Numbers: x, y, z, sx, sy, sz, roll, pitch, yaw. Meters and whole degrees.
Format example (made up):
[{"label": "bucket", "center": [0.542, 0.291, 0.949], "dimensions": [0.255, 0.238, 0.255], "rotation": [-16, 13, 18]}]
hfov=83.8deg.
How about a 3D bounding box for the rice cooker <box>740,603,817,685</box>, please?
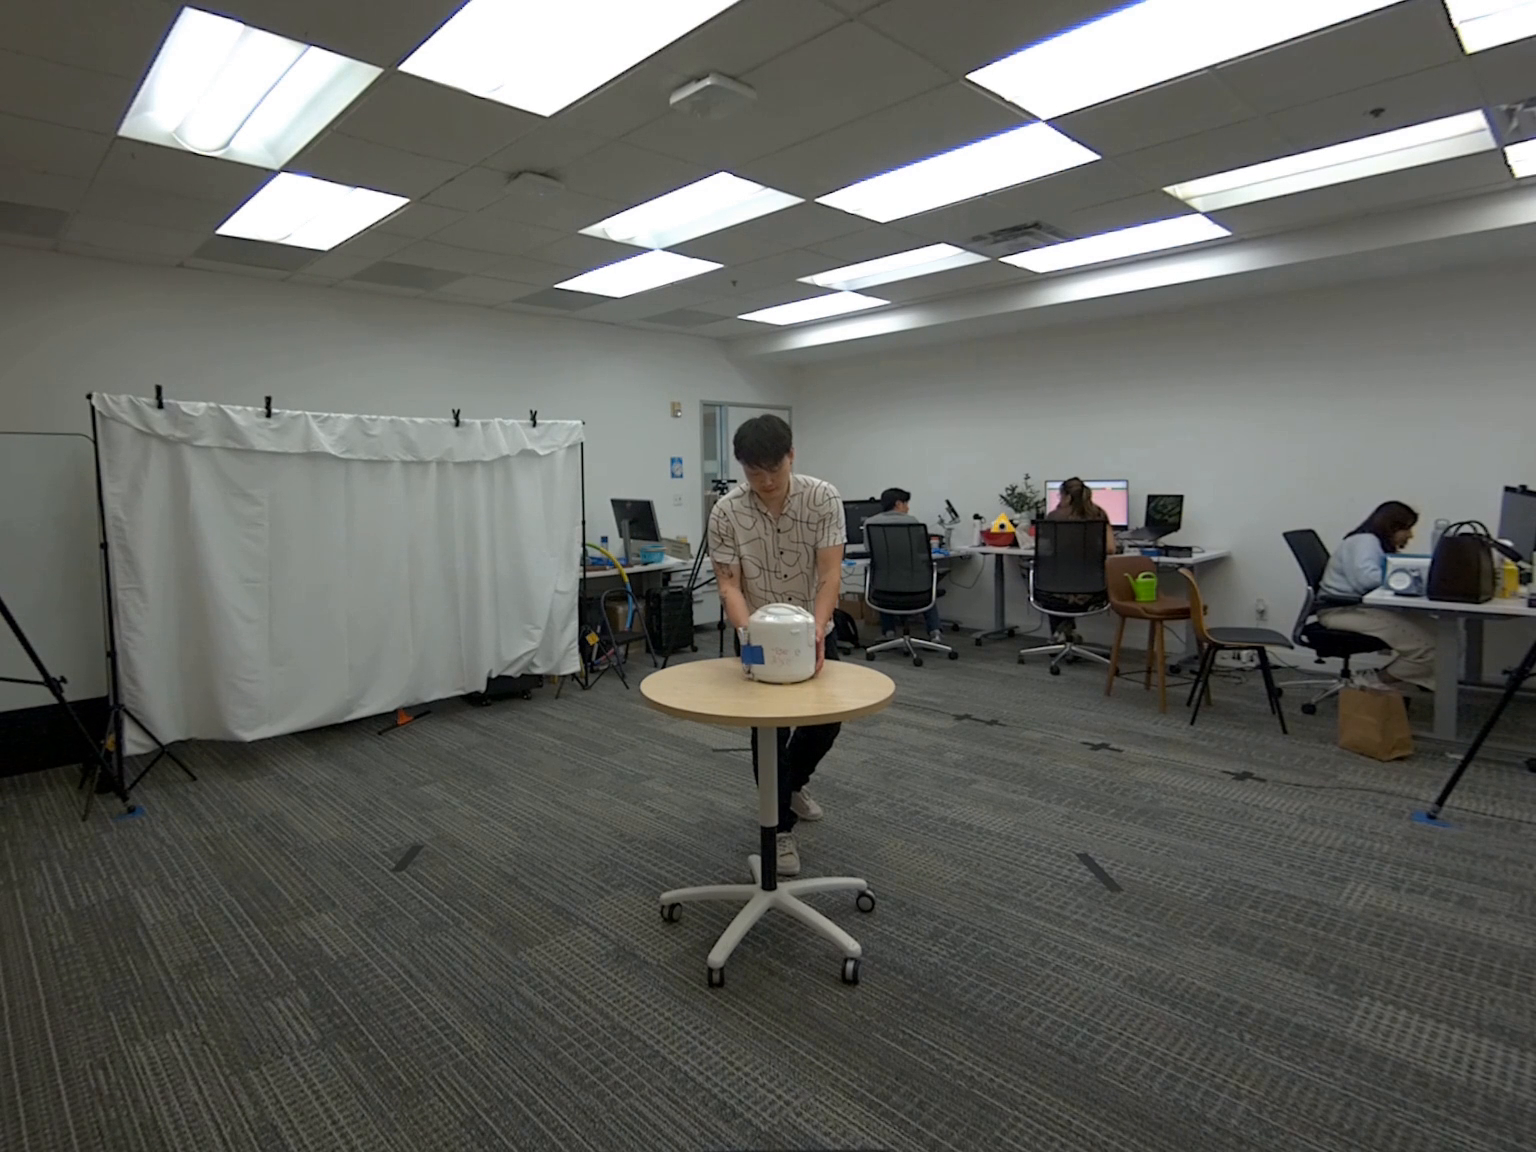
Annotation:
[{"label": "rice cooker", "center": [0.039, 0.204, 2.642], "dimensions": [0.226, 0.232, 0.213], "rotation": [3, 7, 30]}]
